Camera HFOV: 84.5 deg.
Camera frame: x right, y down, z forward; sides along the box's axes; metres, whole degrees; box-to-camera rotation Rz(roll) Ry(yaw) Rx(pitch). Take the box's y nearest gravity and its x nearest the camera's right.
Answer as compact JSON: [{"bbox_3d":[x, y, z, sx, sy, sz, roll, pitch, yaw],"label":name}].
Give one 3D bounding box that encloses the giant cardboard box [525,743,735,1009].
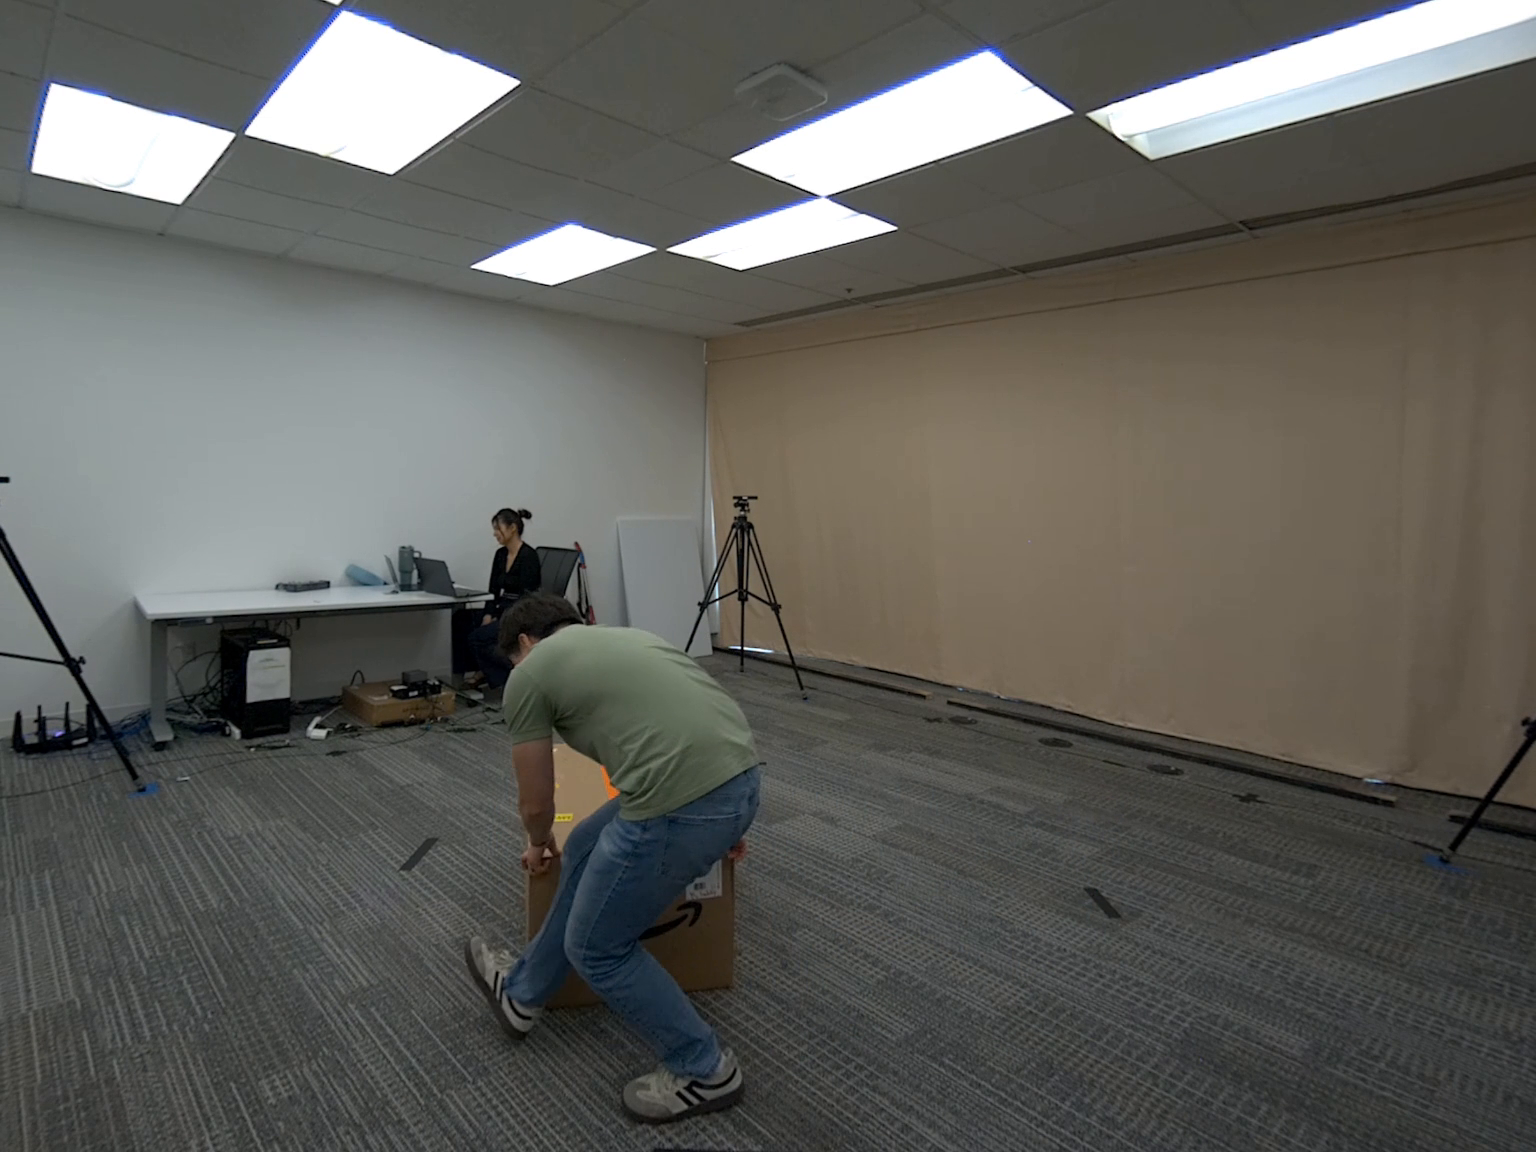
[{"bbox_3d":[-0.510,0.910,2.809,0.571,0.425,1.041,-1,6,-15],"label":"giant cardboard box"}]
